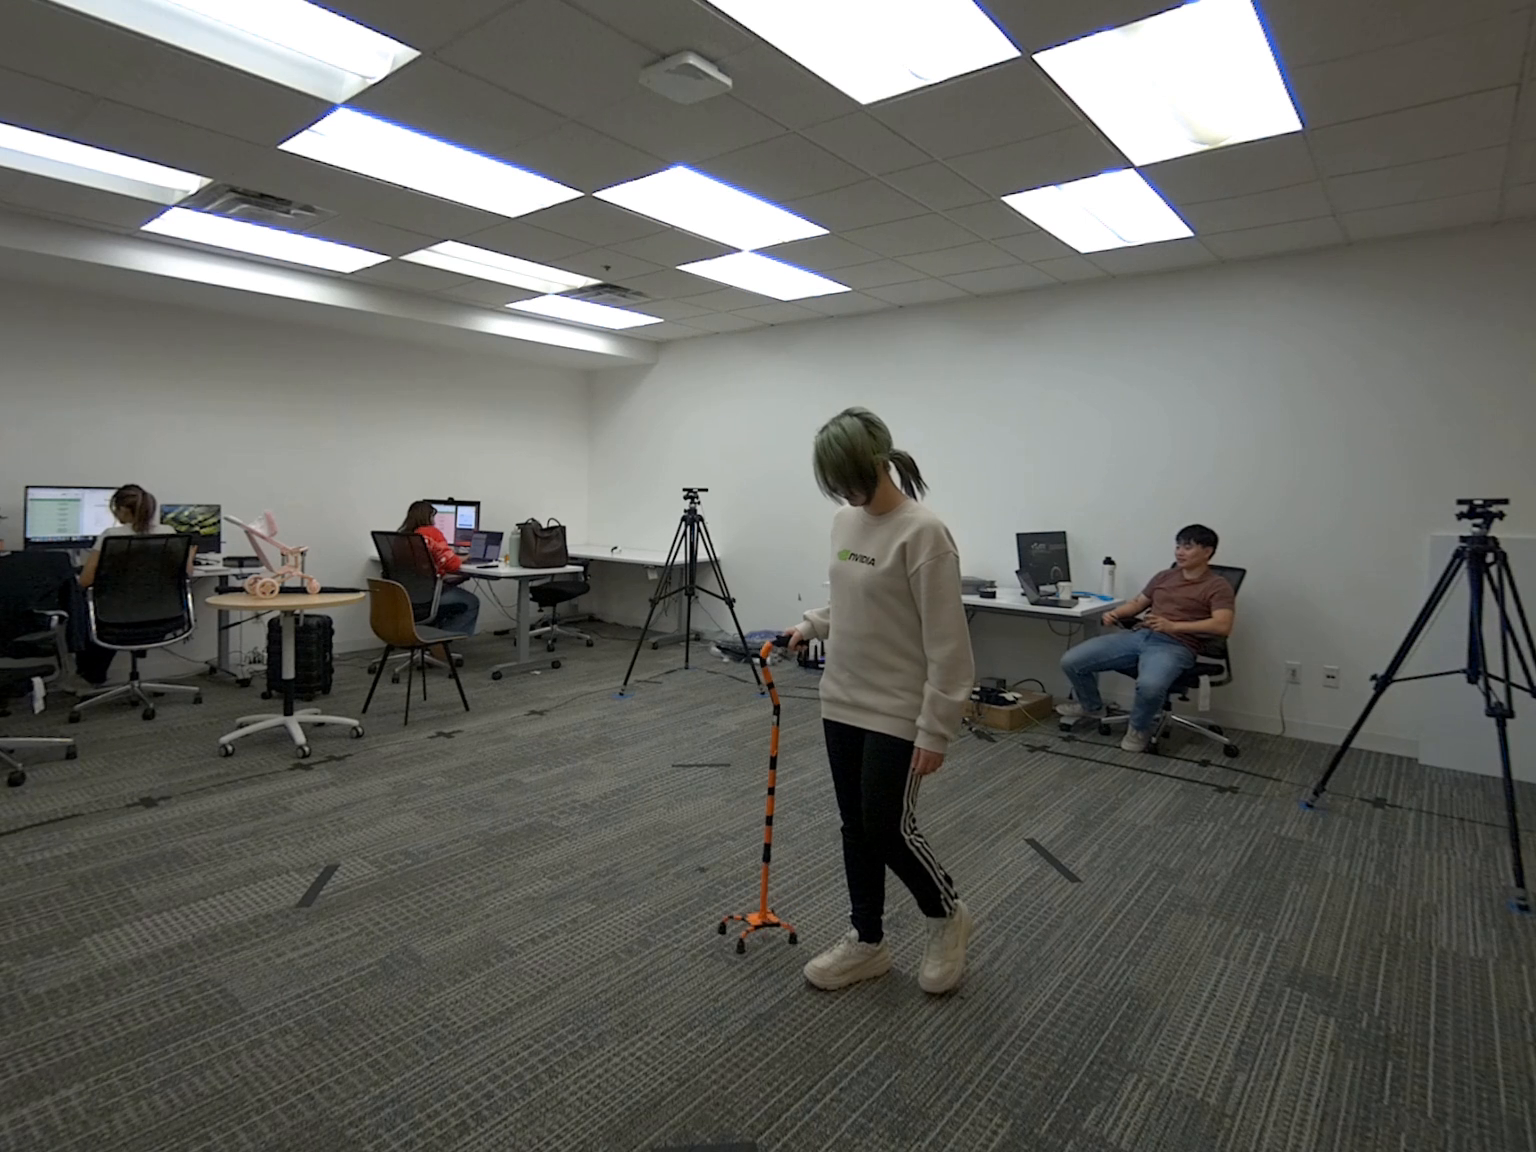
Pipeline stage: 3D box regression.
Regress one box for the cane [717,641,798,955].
[{"bbox_3d":[-0.008,0.635,2.561,0.200,0.908,0.156,3,0,-31],"label":"cane"}]
